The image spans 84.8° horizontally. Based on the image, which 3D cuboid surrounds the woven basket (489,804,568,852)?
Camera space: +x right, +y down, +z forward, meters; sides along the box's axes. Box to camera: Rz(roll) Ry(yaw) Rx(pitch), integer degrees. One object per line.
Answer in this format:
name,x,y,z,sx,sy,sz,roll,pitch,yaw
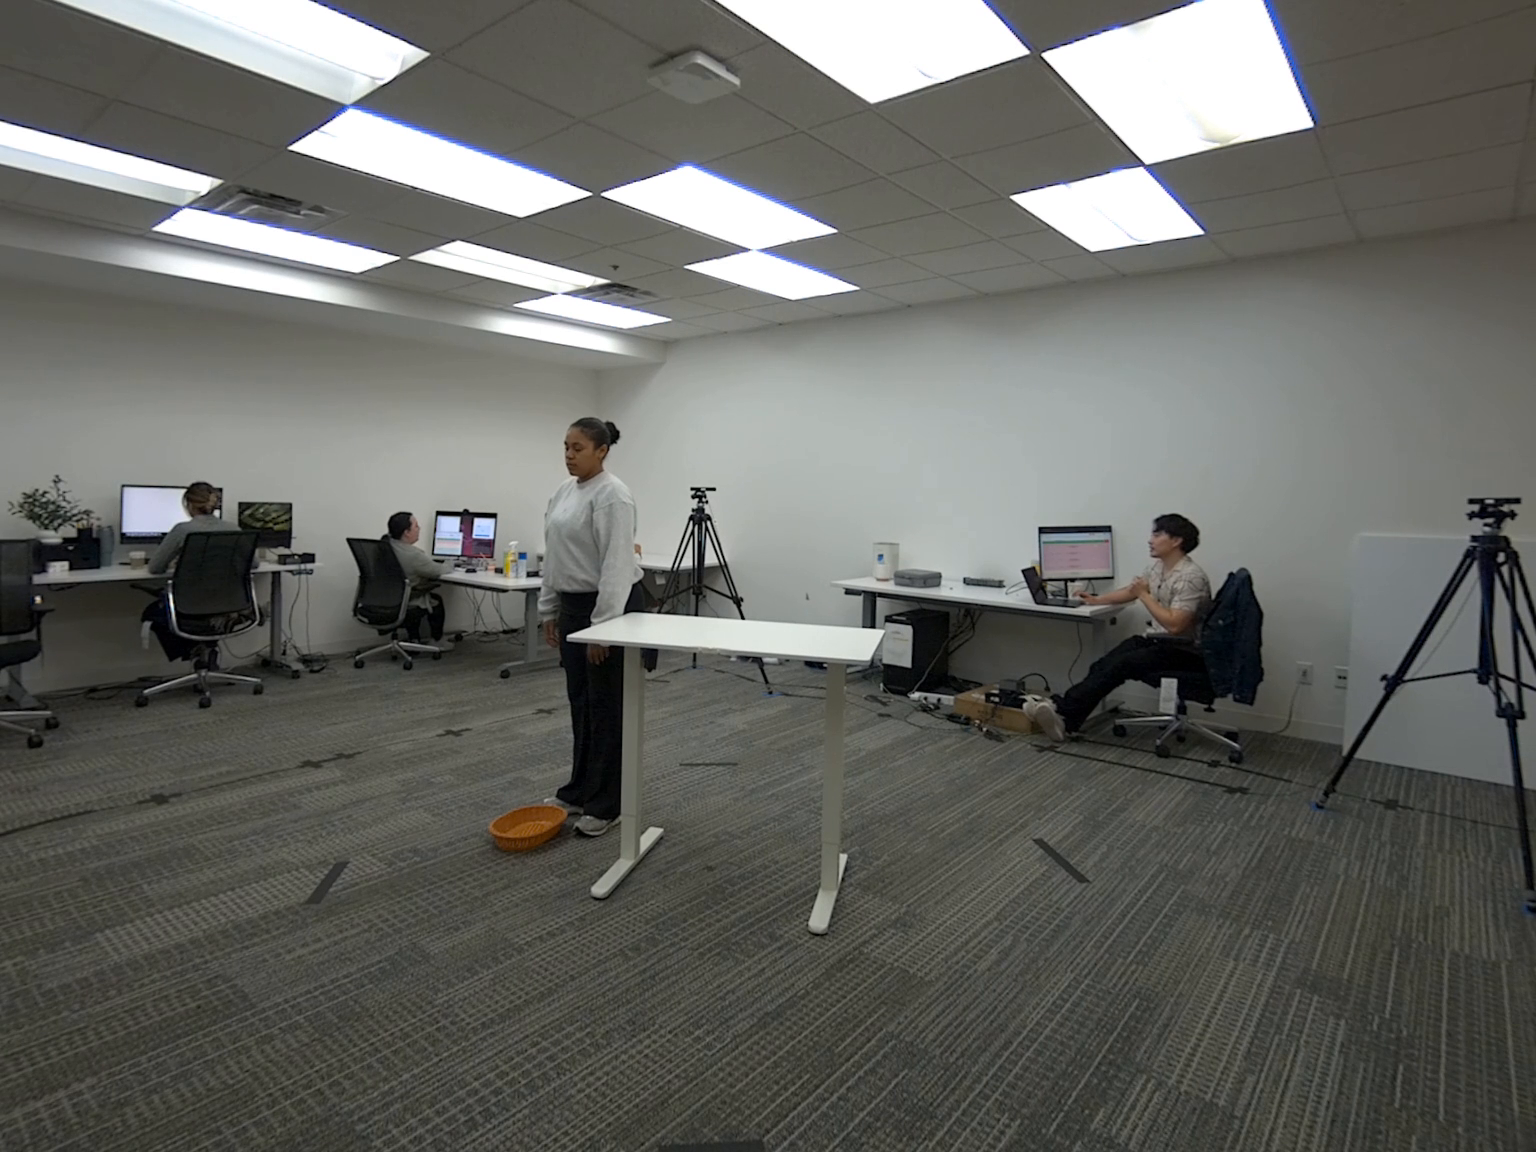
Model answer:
woven basket,-0.954,0.986,3.358,0.258,0.073,0.343,2,6,22
